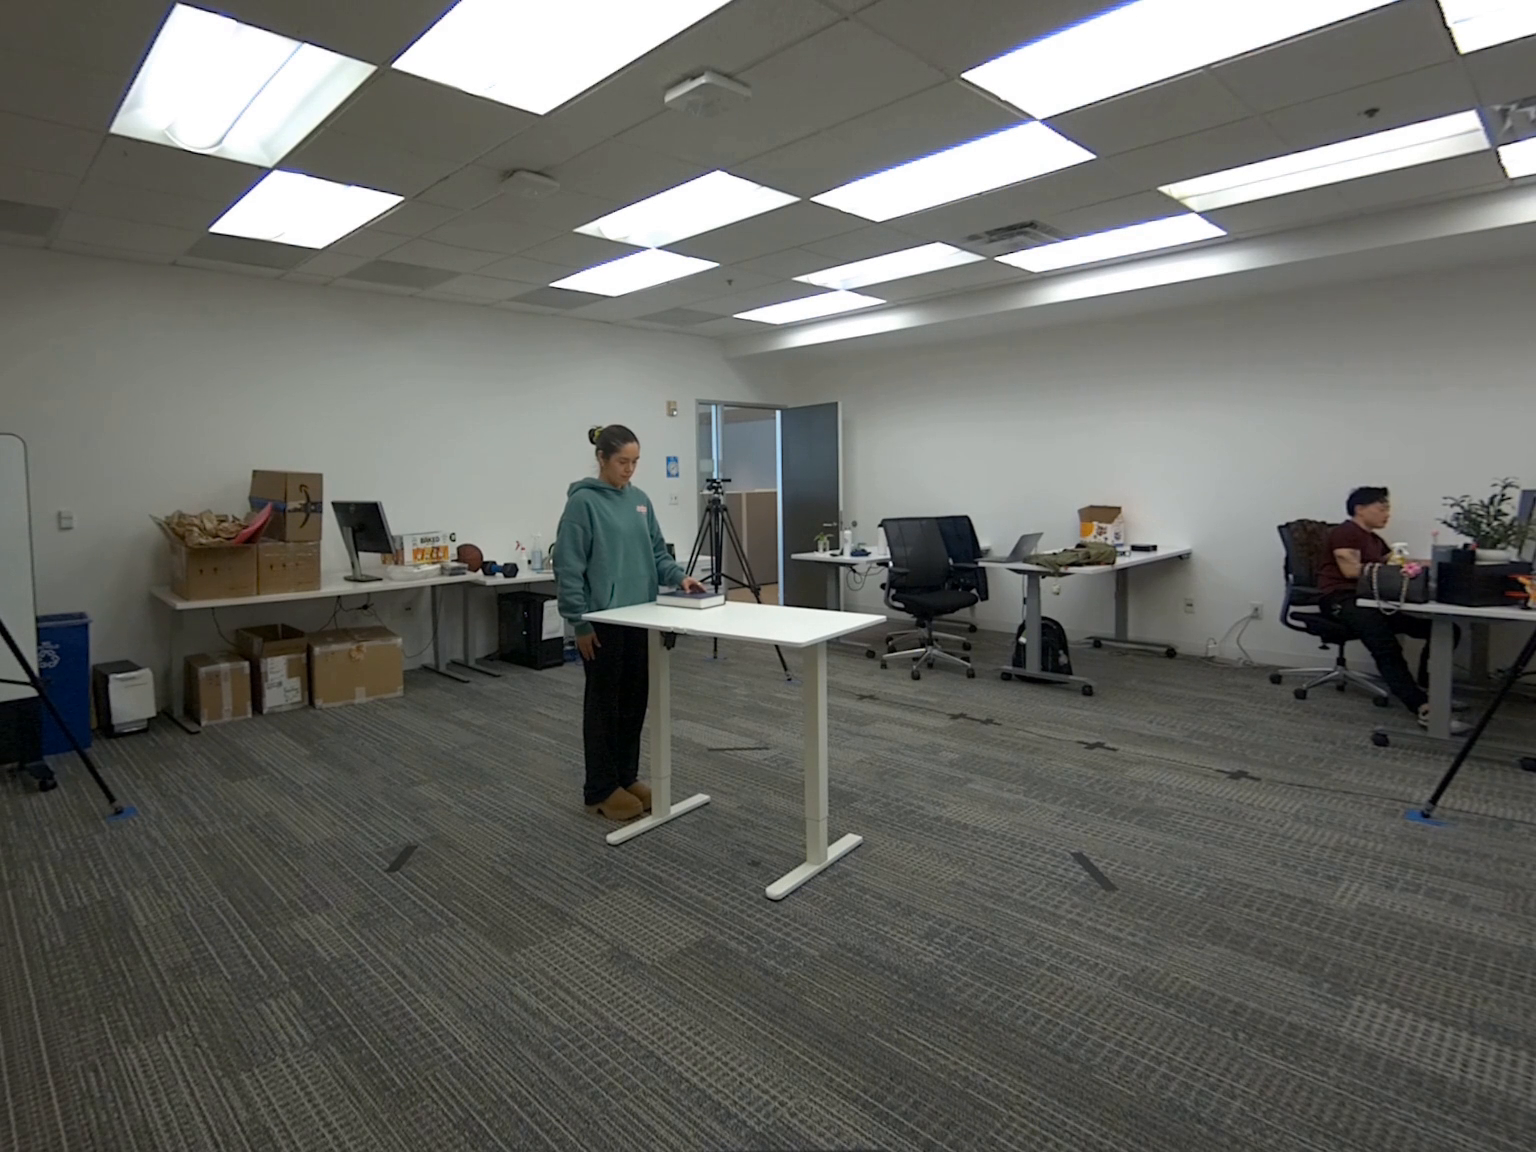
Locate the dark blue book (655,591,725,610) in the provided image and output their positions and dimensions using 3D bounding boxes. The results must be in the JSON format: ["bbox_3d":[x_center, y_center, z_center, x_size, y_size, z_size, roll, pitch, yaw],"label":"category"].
[{"bbox_3d":[-0.316,0.099,3.521,0.252,0.045,0.159,2,7,33],"label":"dark blue book"}]
